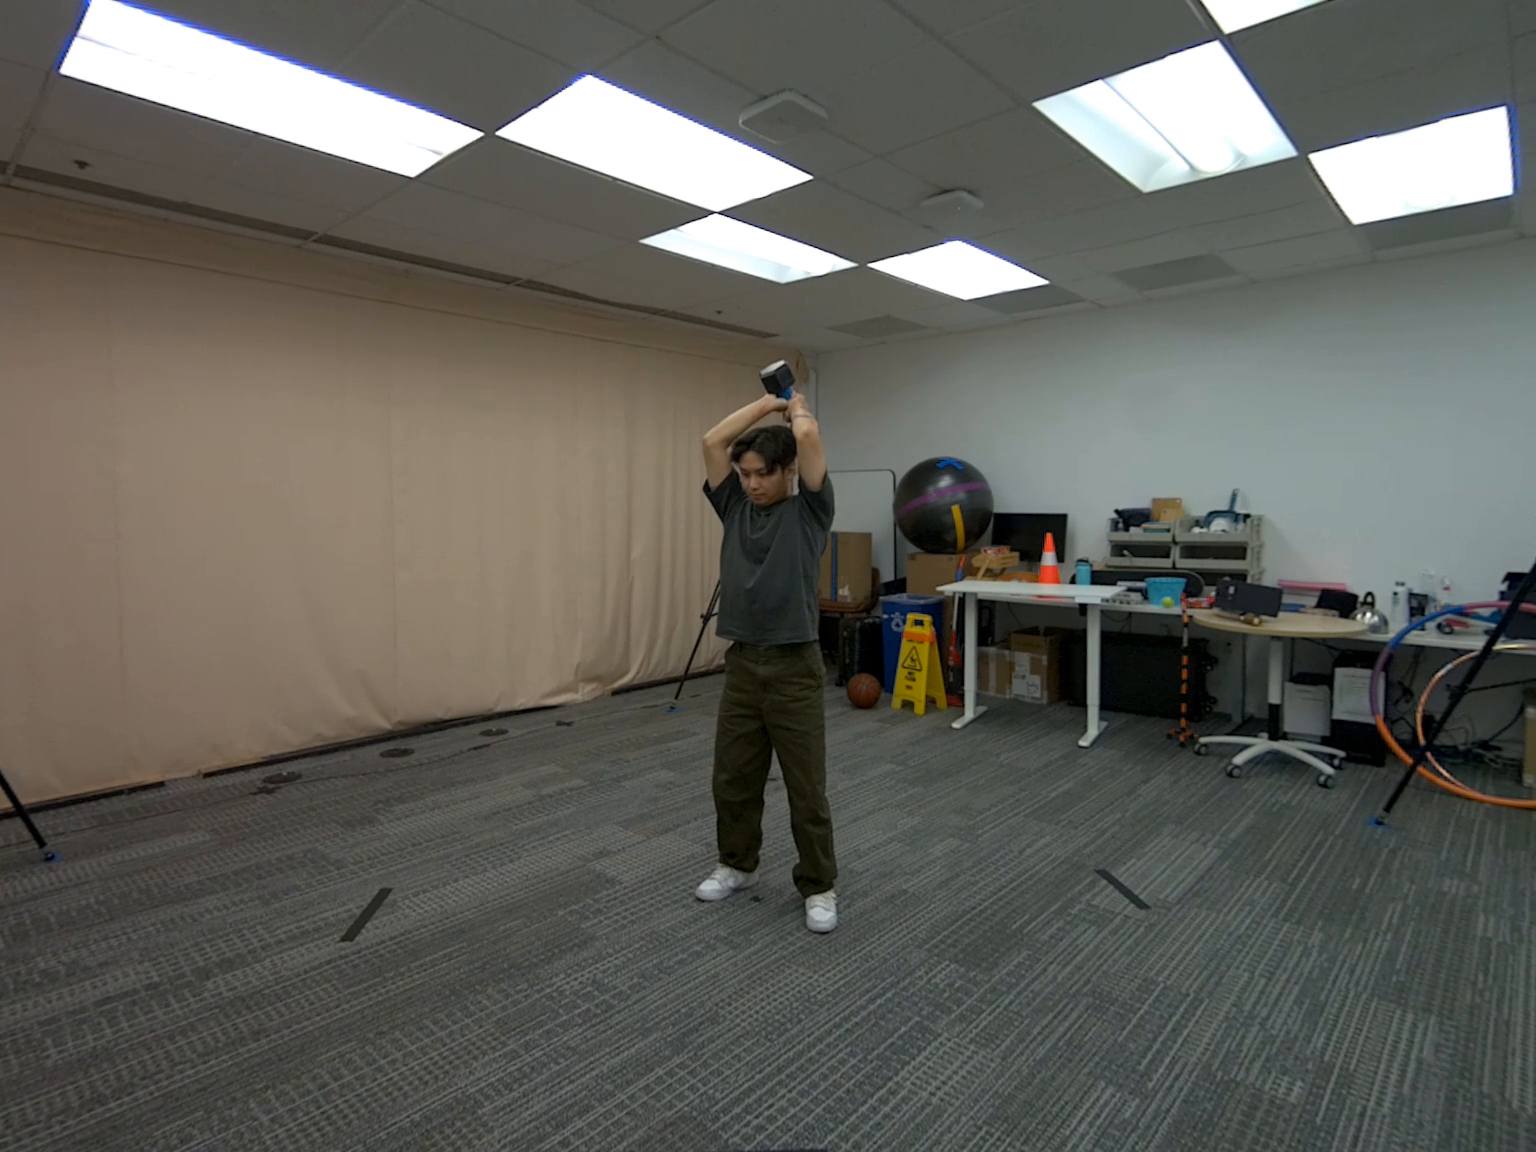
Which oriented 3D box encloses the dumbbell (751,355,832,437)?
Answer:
[{"bbox_3d":[0.081,-0.604,2.951,0.122,0.287,0.112,-38,23,-17],"label":"dumbbell"}]
